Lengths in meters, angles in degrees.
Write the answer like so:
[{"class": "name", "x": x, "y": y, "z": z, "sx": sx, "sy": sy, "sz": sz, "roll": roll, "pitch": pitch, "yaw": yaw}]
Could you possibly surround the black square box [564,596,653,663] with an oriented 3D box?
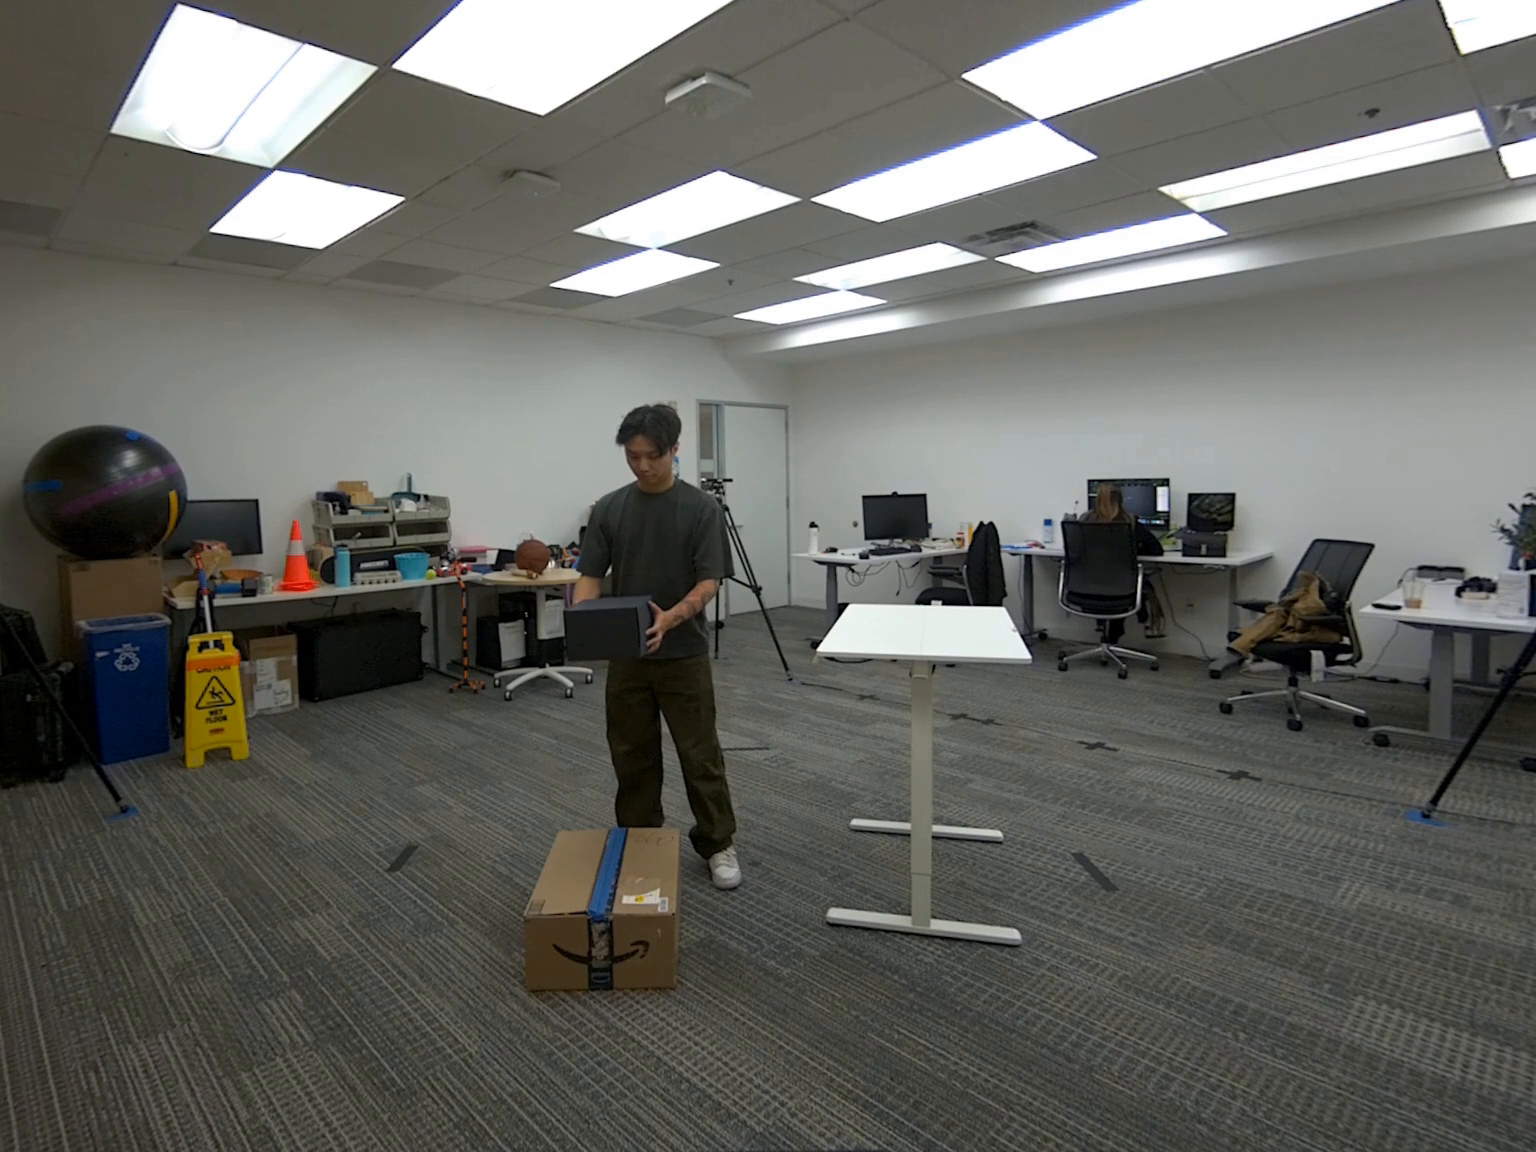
[{"class": "black square box", "x": -0.491, "y": 0.159, "z": 2.634, "sx": 0.229, "sy": 0.155, "sz": 0.217, "roll": -4, "pitch": 6, "yaw": 6}]
